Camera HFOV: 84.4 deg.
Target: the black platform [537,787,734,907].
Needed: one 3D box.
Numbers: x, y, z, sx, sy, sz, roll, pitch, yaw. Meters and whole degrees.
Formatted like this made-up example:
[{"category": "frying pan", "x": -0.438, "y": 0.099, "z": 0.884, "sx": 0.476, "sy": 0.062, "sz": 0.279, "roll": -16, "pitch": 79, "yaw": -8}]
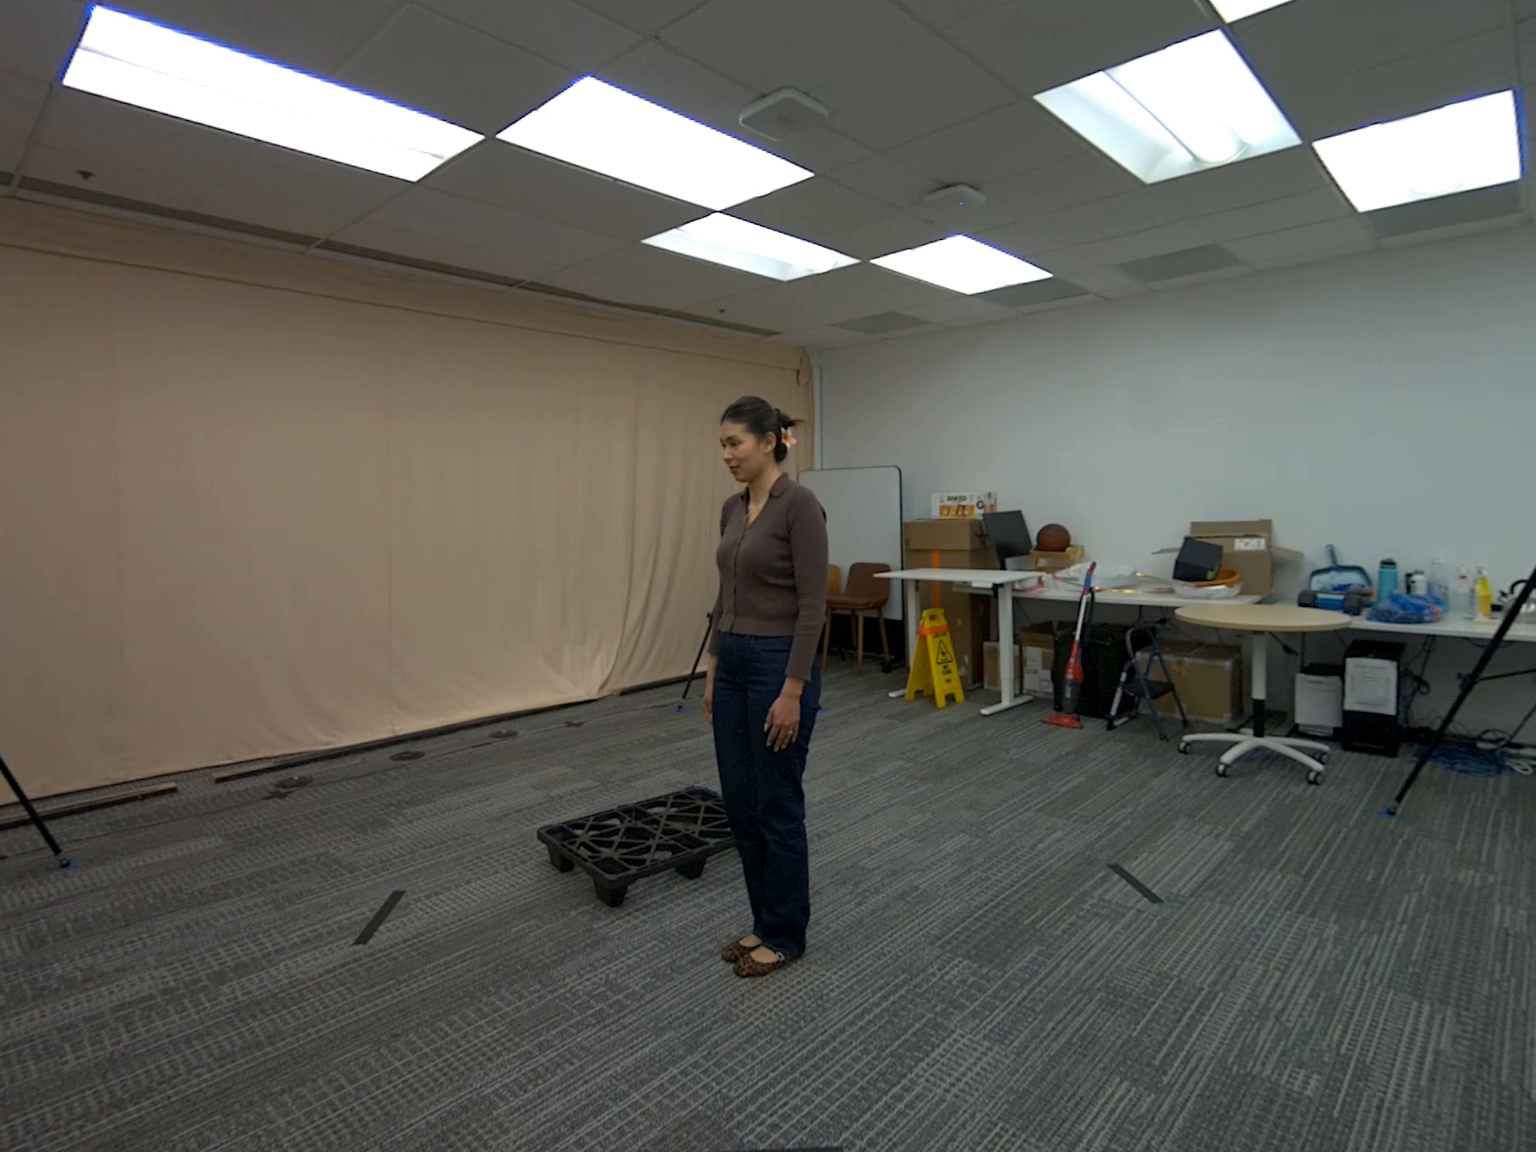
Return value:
[{"category": "black platform", "x": -0.417, "y": 1.053, "z": 3.329, "sx": 0.782, "sy": 0.143, "sz": 0.625, "roll": -6, "pitch": 7, "yaw": -39}]
